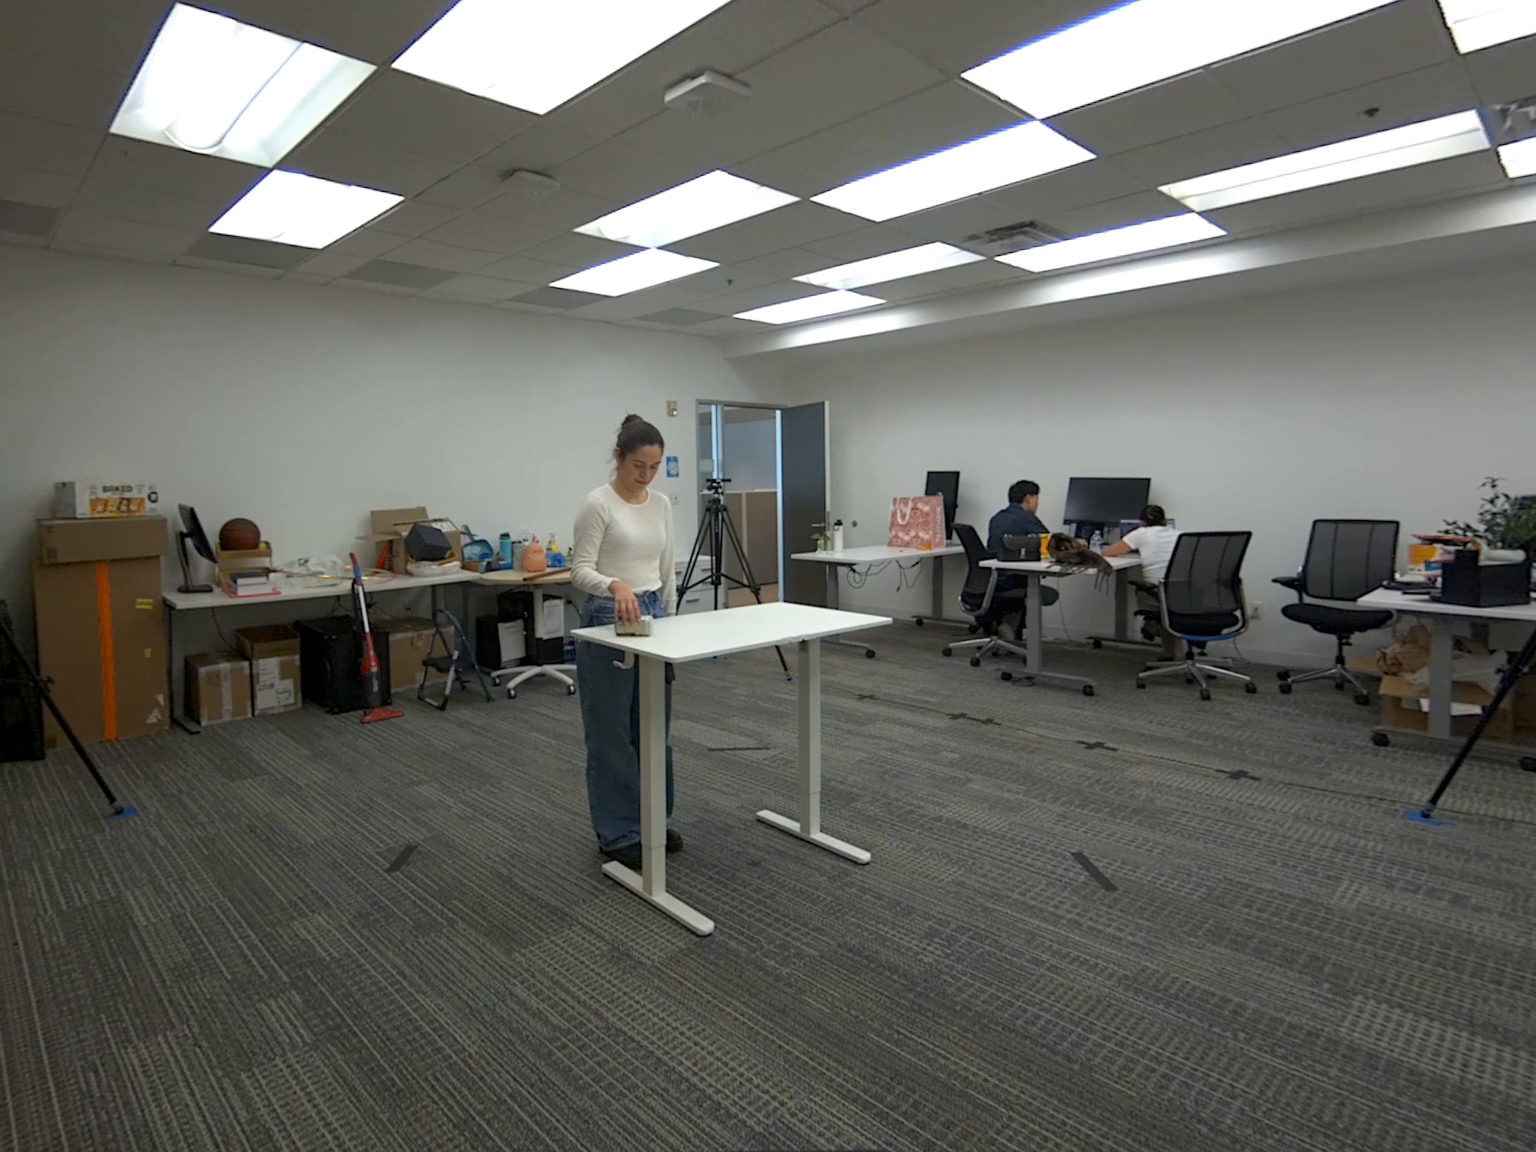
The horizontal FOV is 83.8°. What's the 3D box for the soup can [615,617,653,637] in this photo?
[{"bbox_3d":[-0.430,0.163,2.841,0.066,0.067,0.125,-3,9,-23],"label":"soup can"}]
